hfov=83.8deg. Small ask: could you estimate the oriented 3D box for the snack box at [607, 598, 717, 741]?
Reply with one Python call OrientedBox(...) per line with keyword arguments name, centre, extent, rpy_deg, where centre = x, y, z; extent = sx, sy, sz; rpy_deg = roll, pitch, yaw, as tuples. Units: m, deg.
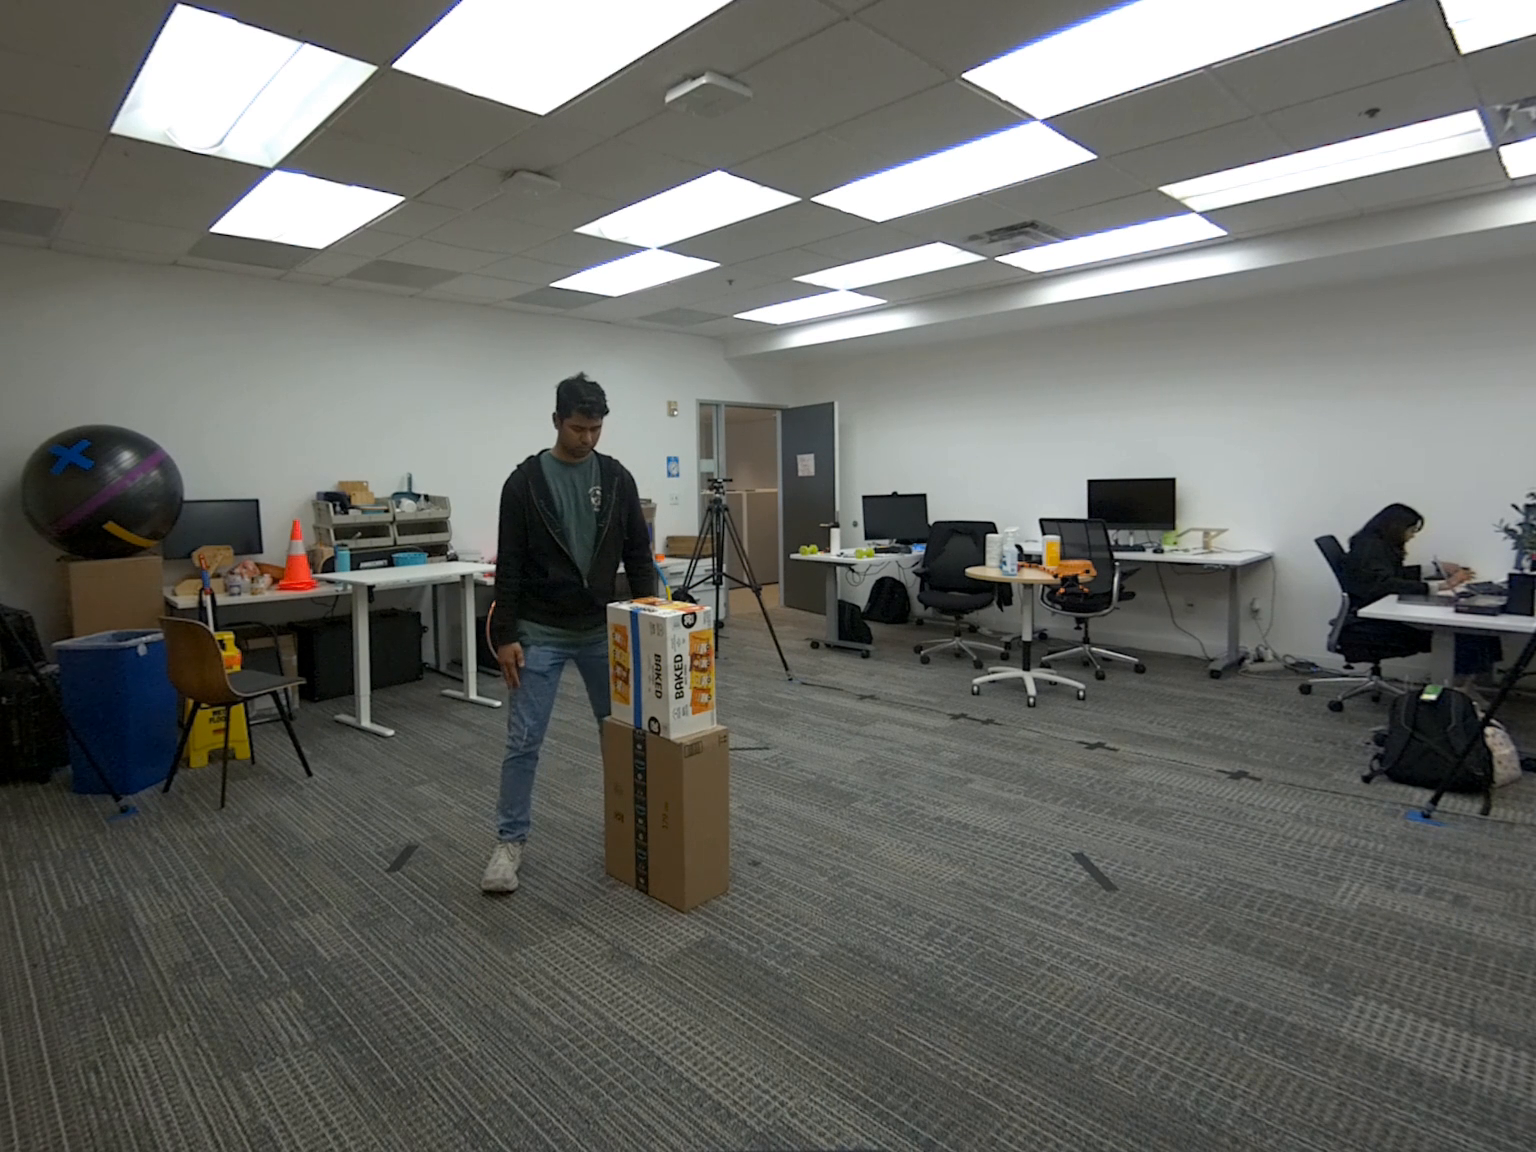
OrientedBox(name="snack box", centre=(-0.363, 0.301, 2.922), extent=(0.200, 0.403, 0.351), rpy_deg=(-6, 7, -42))
